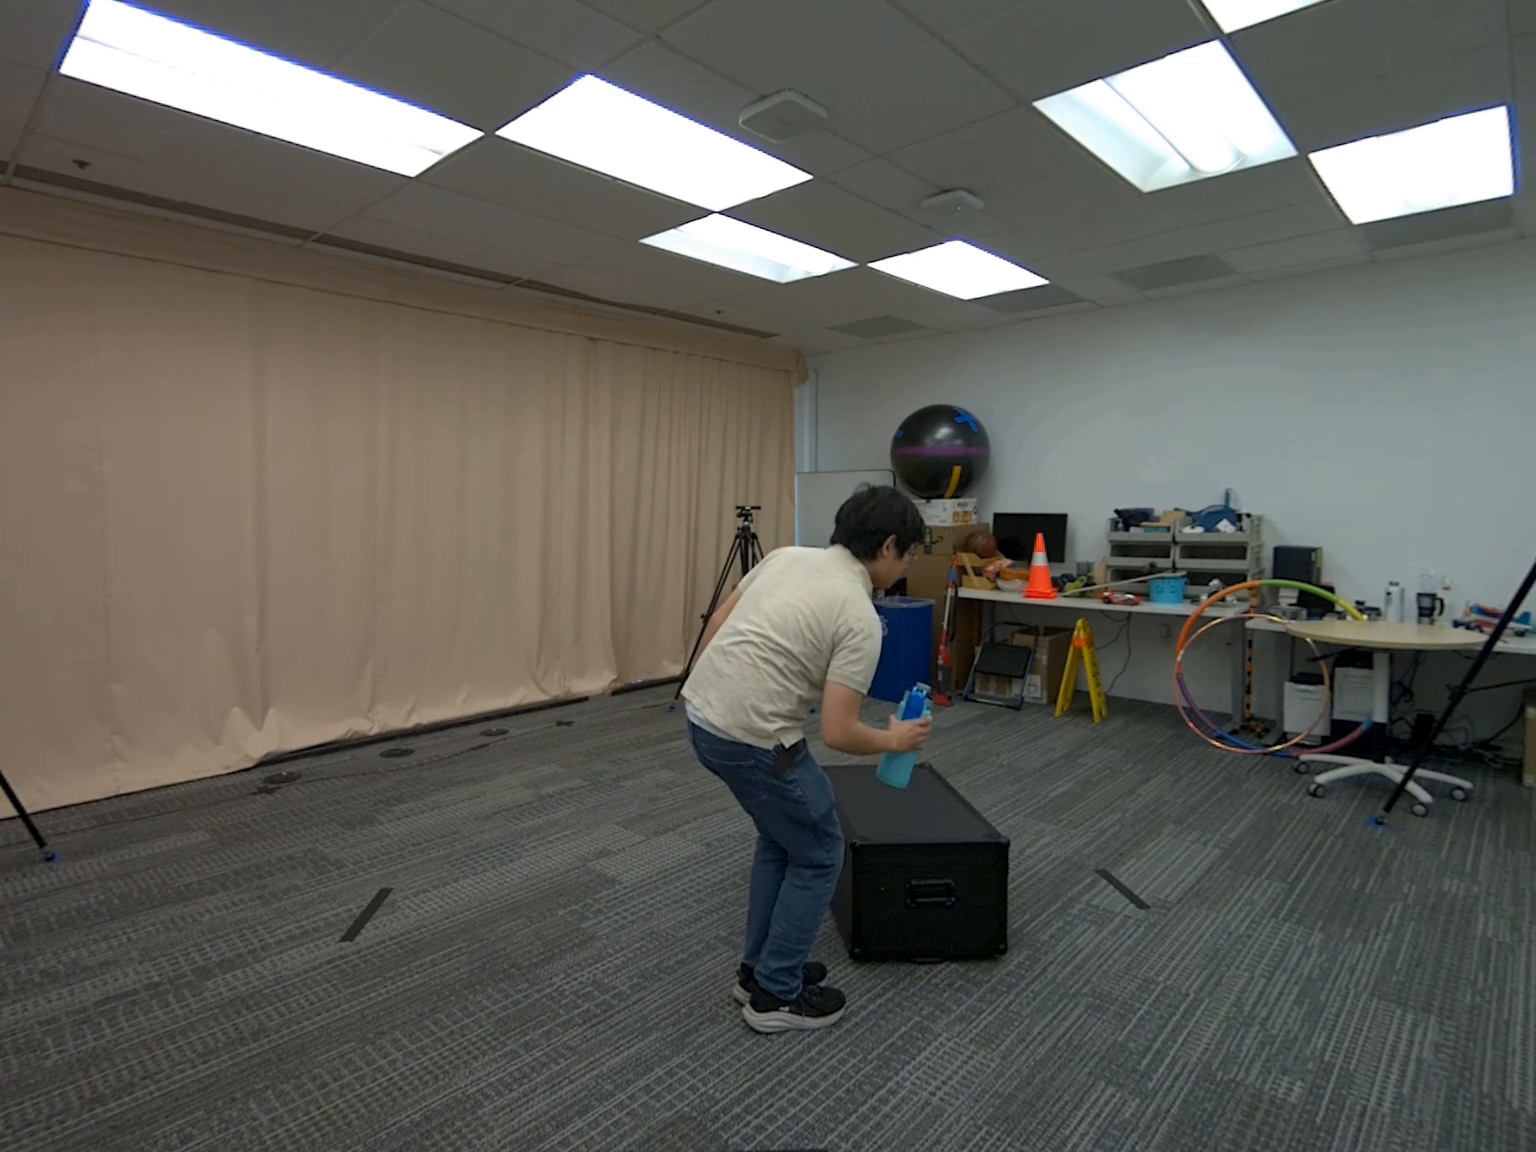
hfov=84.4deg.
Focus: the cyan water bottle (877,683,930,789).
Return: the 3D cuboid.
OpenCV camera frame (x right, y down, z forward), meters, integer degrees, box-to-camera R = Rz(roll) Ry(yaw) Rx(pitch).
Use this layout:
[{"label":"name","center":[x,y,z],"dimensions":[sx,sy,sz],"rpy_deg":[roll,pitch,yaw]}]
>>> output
[{"label":"cyan water bottle","center":[0.399,0.425,2.324],"dimensions":[0.092,0.283,0.093],"rpy_deg":[16,5,-3]}]
